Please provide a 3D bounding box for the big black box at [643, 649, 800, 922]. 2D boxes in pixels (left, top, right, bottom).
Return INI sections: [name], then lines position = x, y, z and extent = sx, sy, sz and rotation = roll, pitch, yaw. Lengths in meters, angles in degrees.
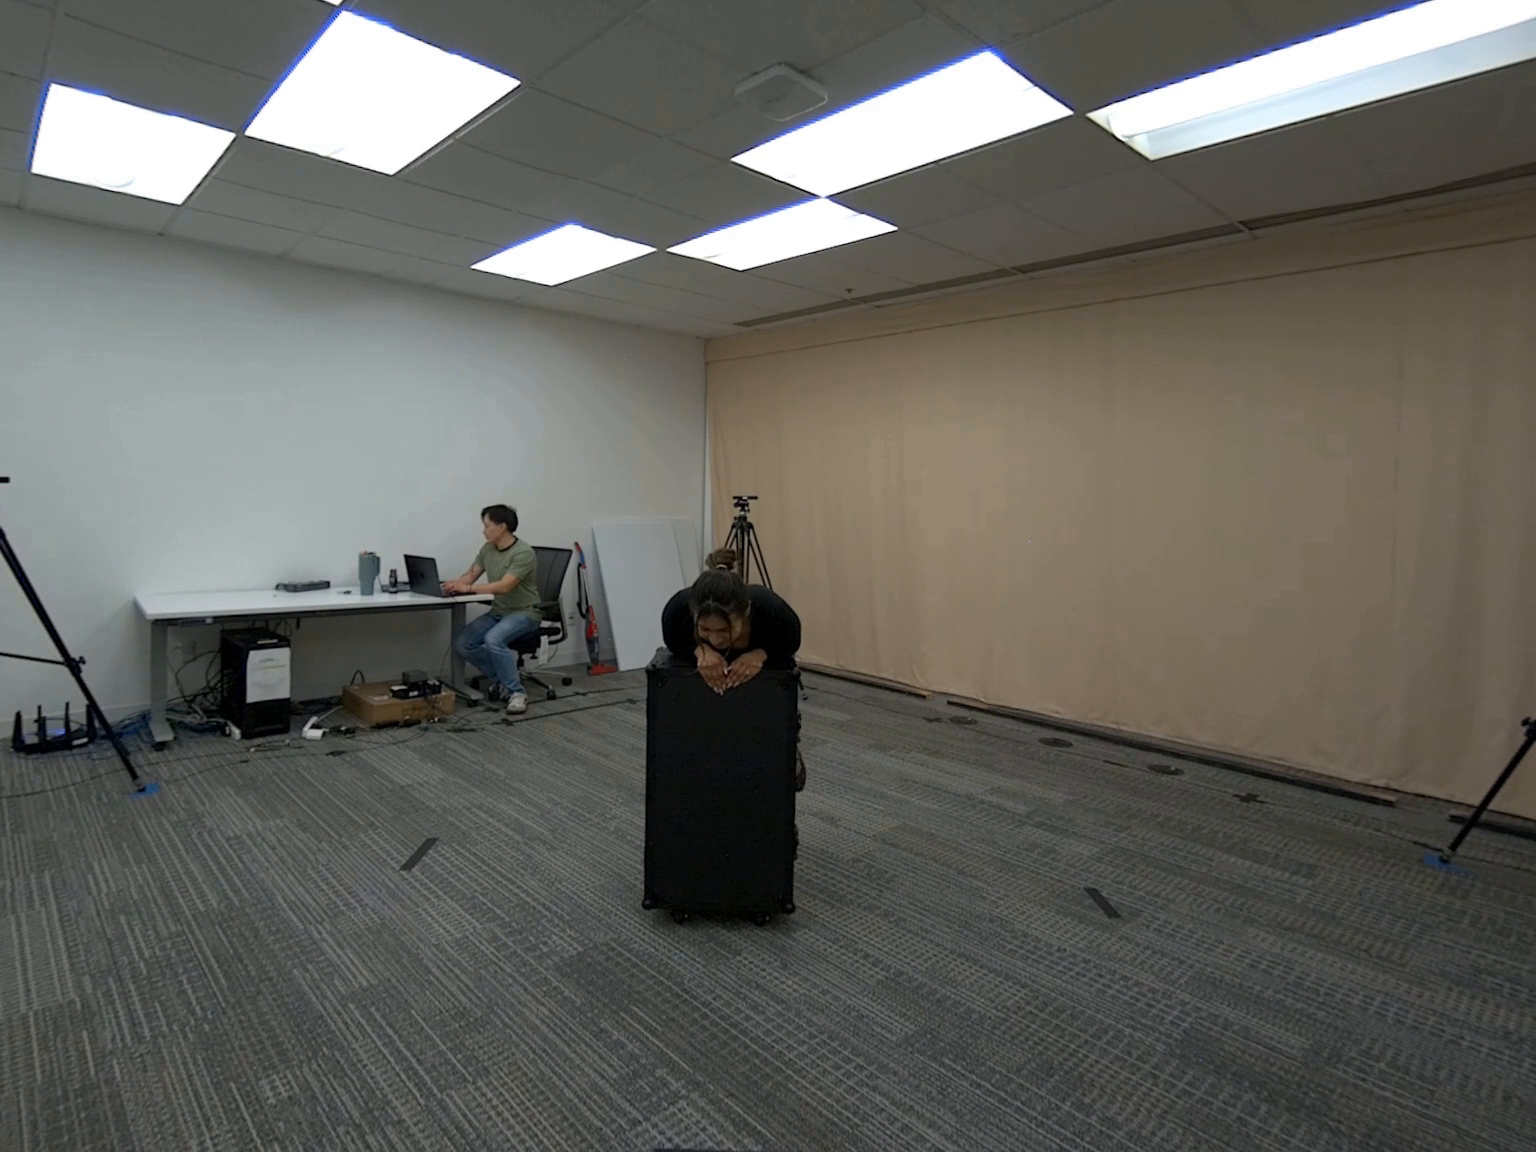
[big black box]
position = -0.164, 0.708, 2.852
extent = 0.521, 0.860, 0.397
rotation = 1, 3, 0
